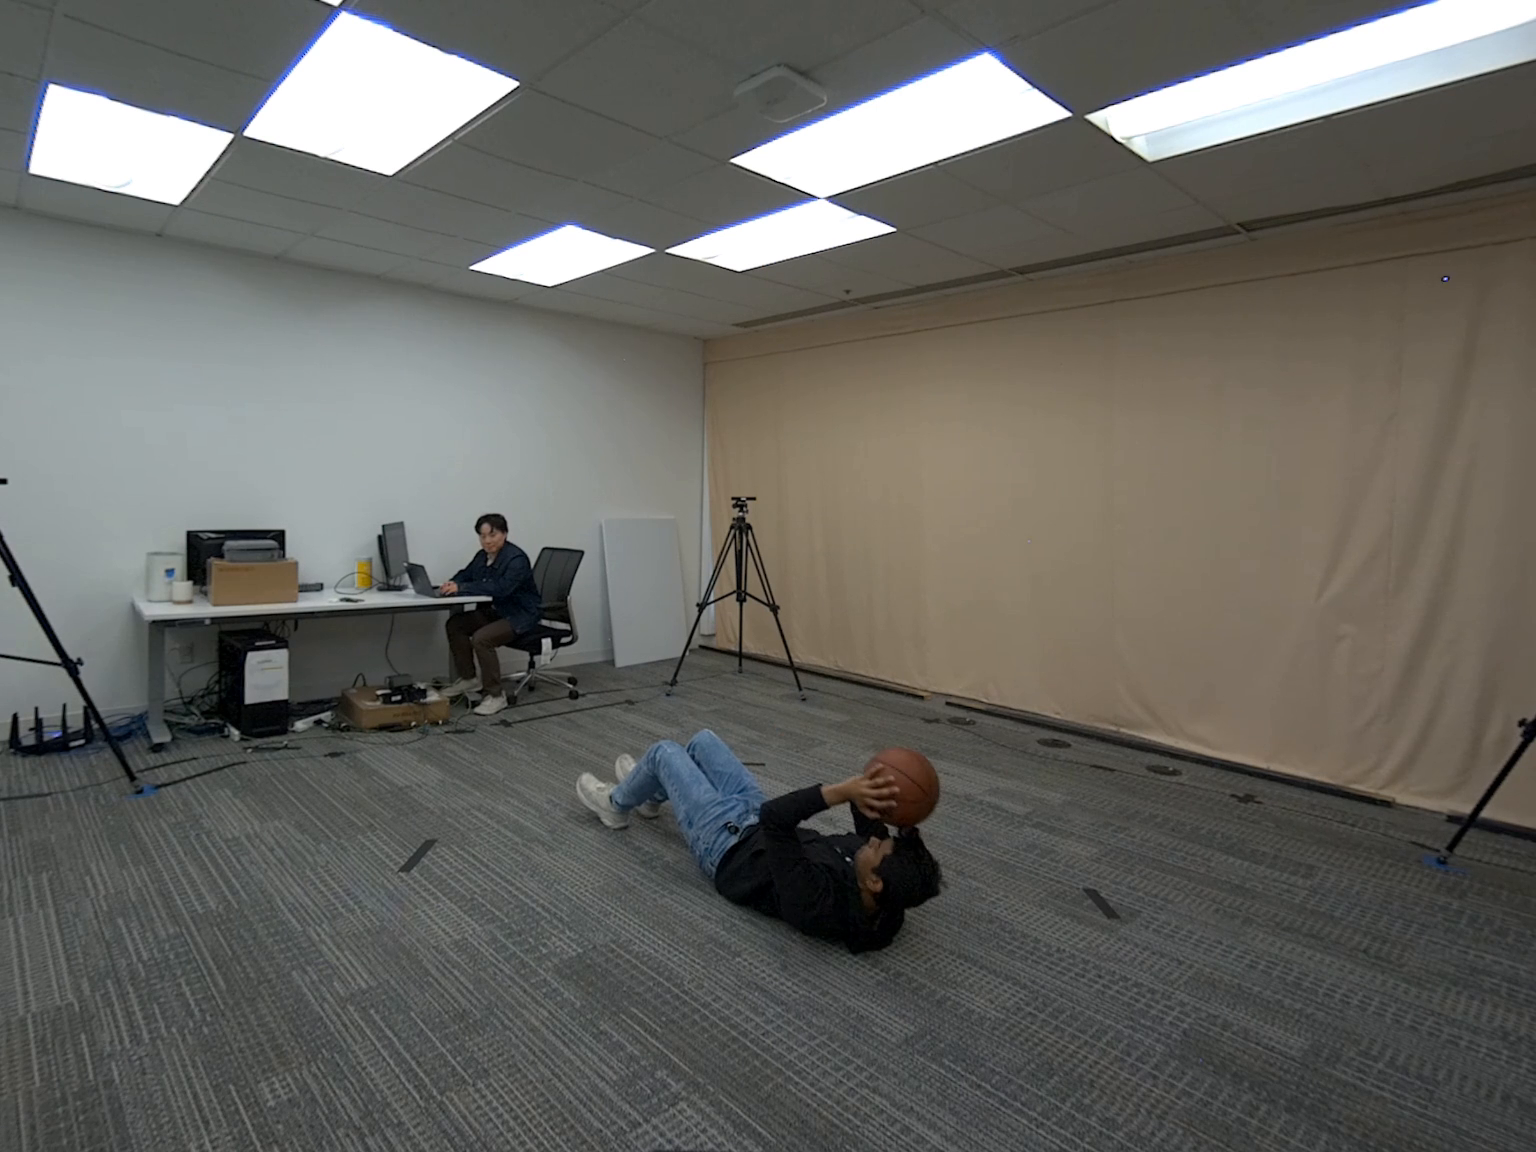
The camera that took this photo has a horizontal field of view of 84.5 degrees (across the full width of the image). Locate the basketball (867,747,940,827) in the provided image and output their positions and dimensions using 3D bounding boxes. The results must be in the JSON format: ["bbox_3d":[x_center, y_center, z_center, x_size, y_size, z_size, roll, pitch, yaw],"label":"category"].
[{"bbox_3d":[0.390,0.654,2.600,0.236,0.235,0.237,1,4,-1],"label":"basketball"}]
